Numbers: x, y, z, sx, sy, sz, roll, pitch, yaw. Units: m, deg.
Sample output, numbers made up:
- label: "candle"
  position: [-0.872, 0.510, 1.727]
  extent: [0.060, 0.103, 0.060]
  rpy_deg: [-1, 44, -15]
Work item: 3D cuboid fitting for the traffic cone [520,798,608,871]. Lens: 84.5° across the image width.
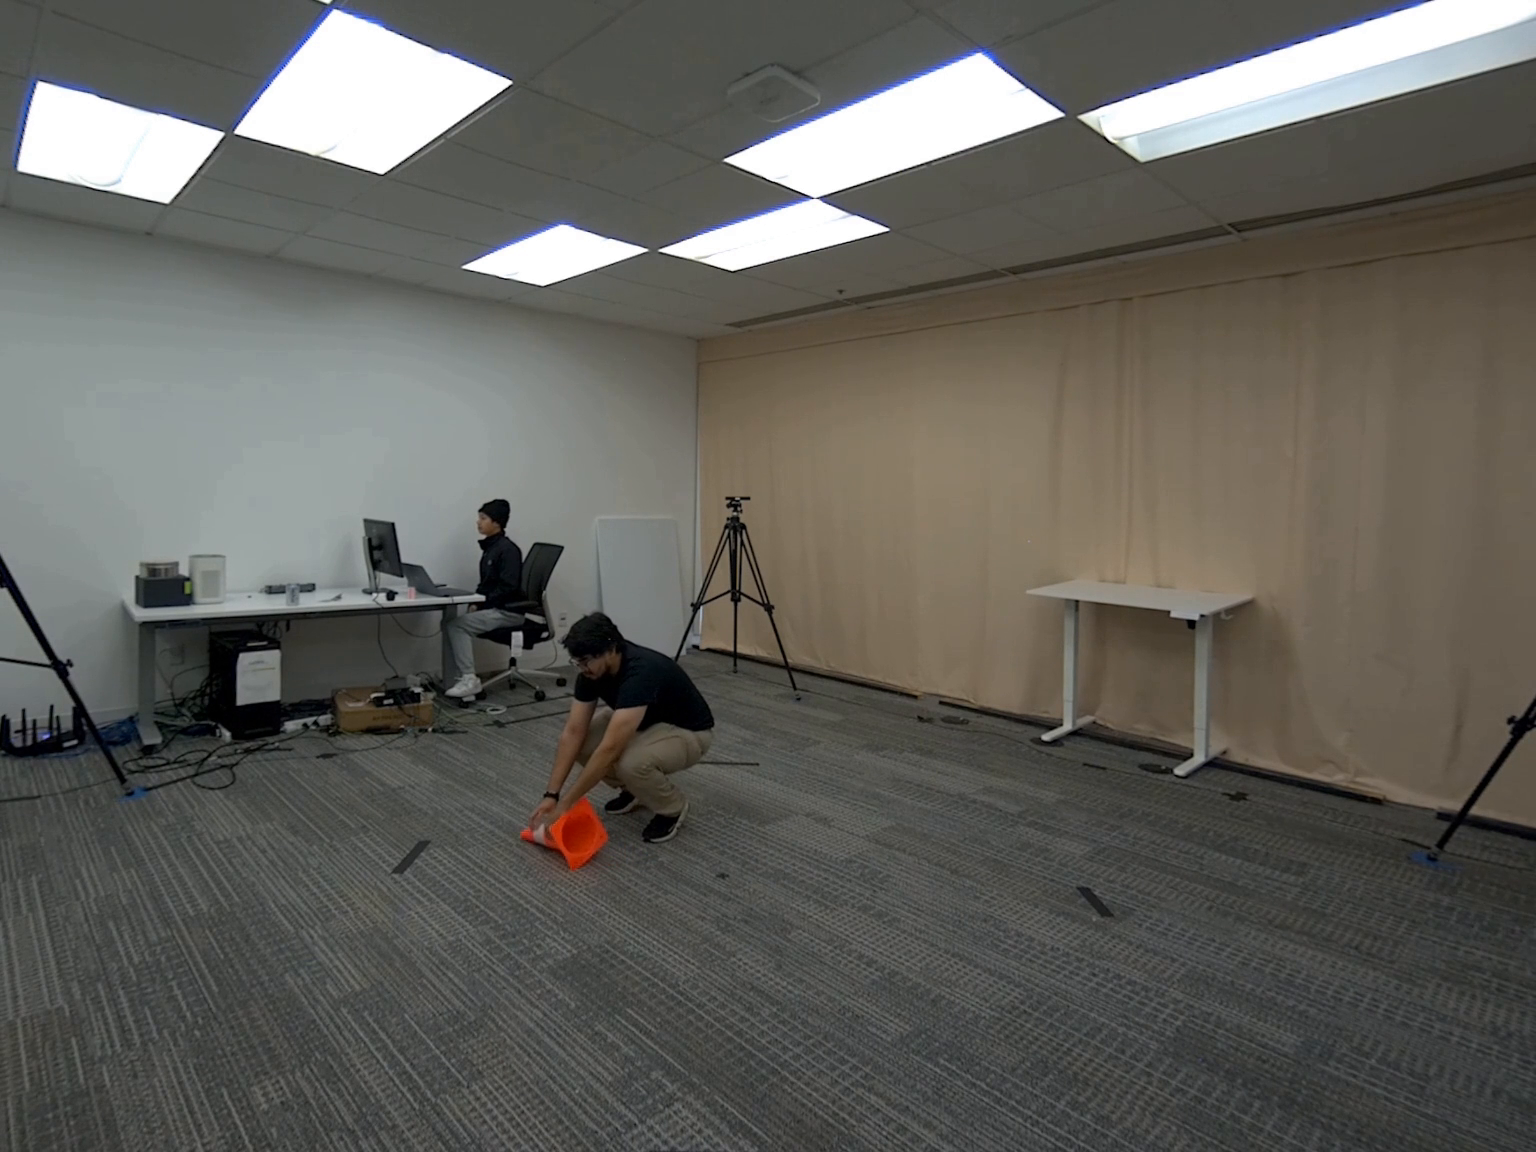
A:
- label: "traffic cone"
  position: [-0.870, 1.018, 3.286]
  extent: [0.389, 0.201, 0.204]
  rpy_deg: [-17, 14, 38]
